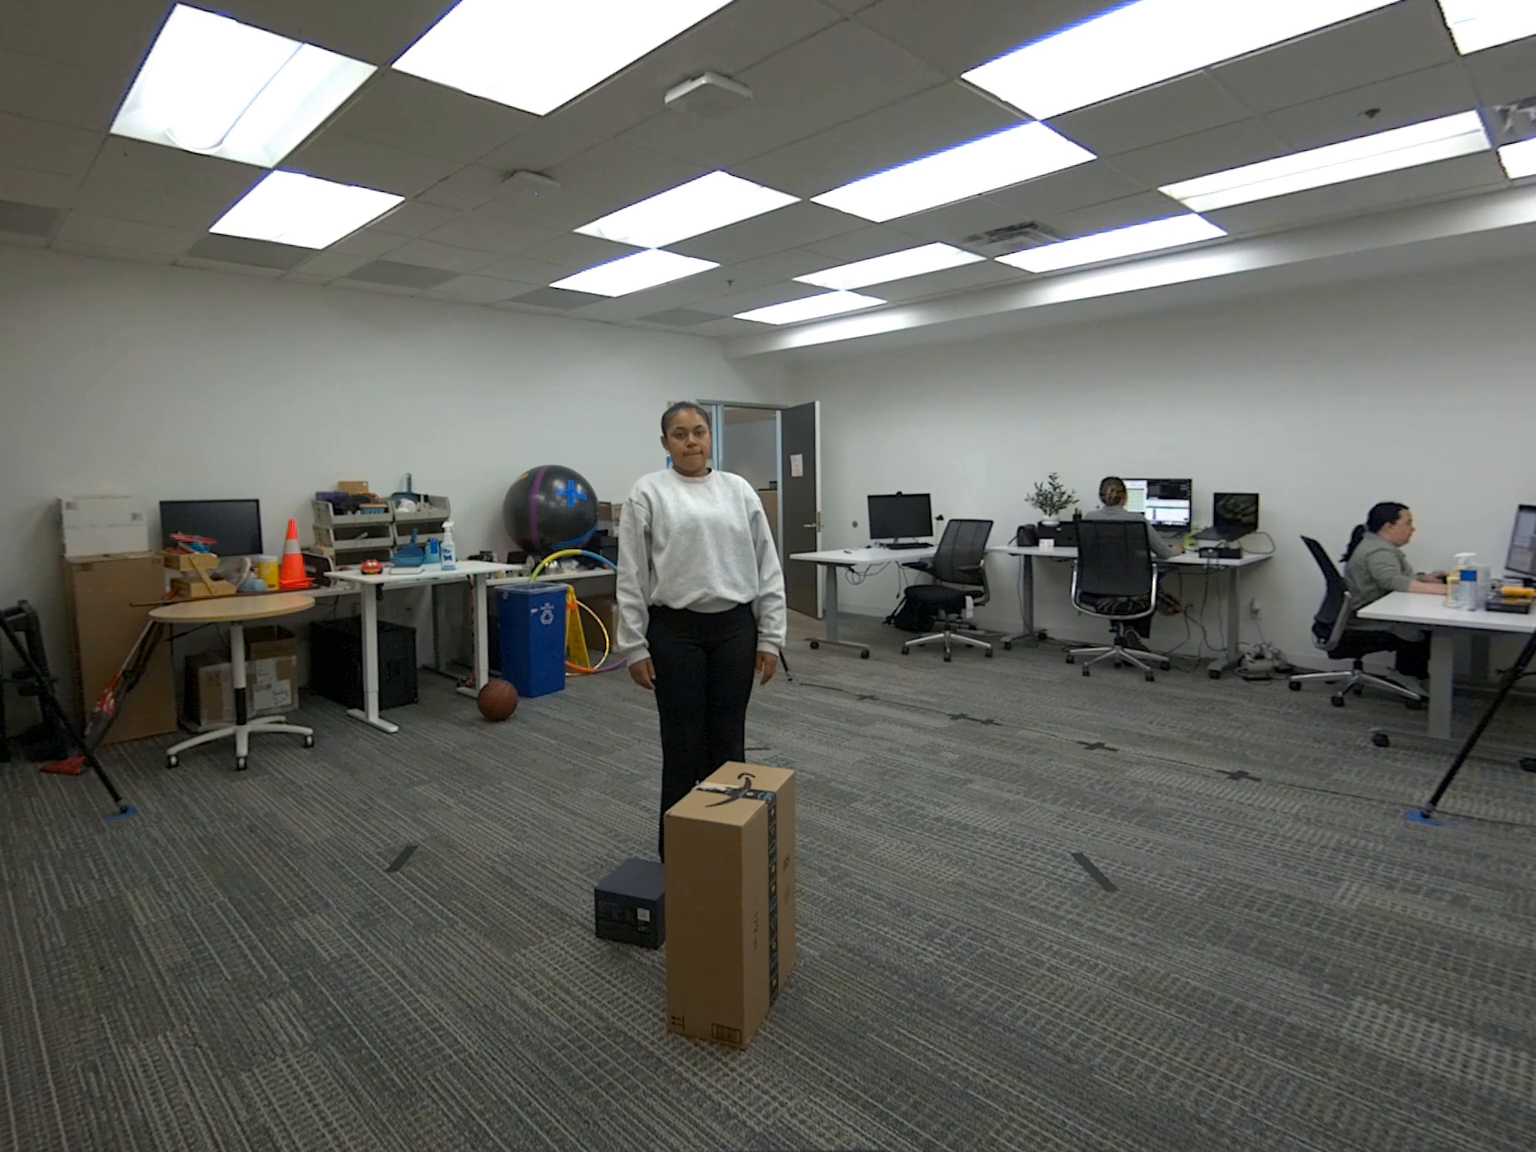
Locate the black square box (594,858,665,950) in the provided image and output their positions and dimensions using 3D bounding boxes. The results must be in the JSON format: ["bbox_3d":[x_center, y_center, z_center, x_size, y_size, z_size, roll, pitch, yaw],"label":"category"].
[{"bbox_3d":[-0.391,1.021,2.679,0.221,0.155,0.224,1,7,21],"label":"black square box"}]
